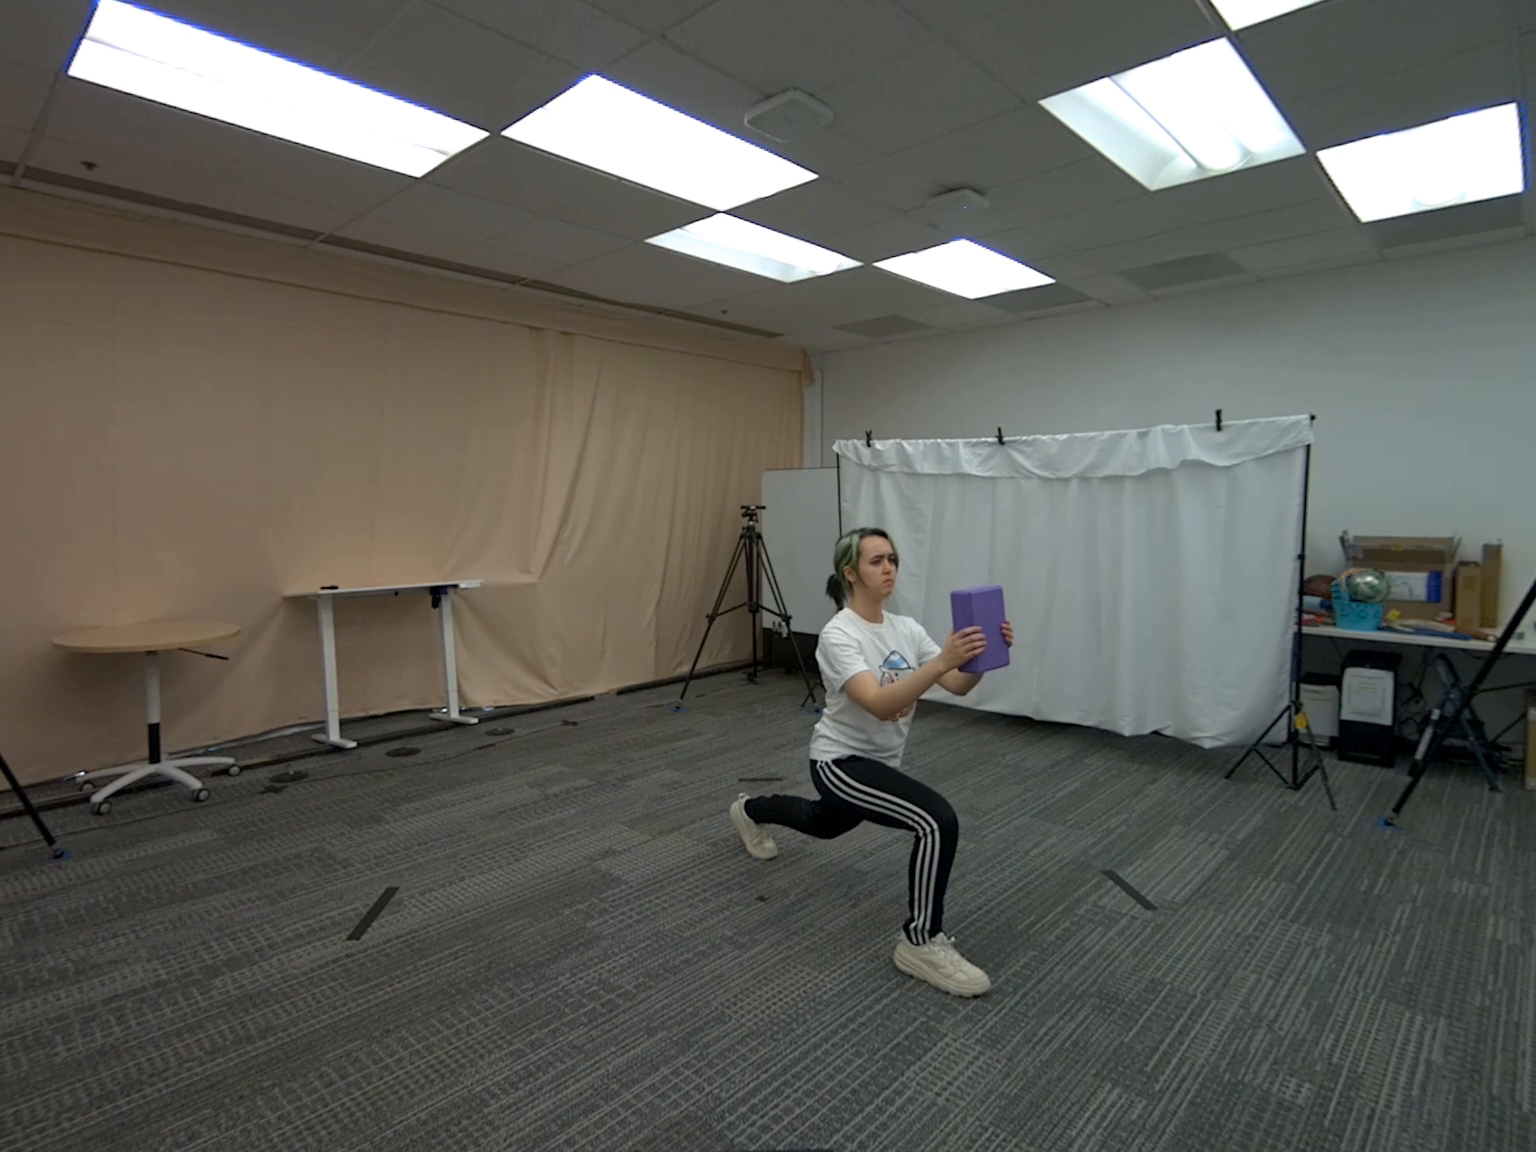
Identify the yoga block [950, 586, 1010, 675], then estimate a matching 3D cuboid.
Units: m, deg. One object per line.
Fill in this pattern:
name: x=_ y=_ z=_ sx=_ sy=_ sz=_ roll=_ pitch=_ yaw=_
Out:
yoga block: x=0.604 y=0.149 z=2.357 sx=0.145 sy=0.229 sz=0.078 roll=-6 pitch=2 yaw=-33
